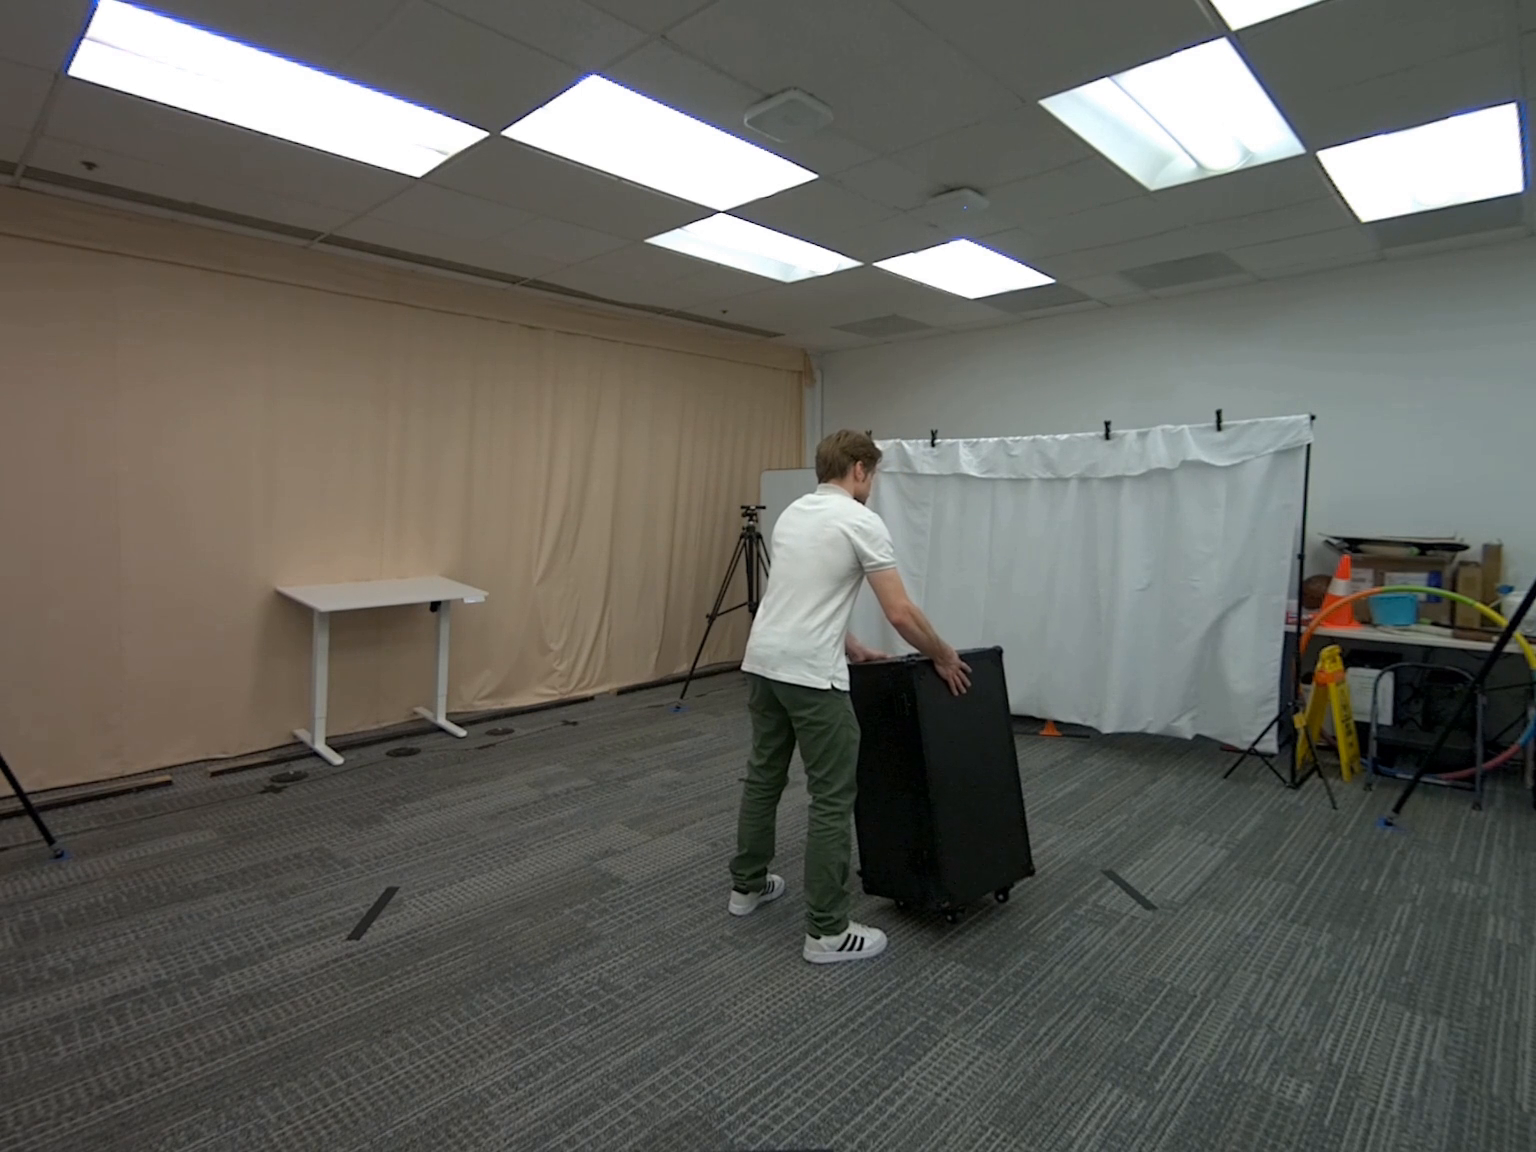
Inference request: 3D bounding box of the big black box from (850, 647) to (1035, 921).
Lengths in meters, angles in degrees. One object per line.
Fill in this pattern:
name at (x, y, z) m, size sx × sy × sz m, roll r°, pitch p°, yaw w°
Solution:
big black box at (0.582, 0.711, 2.935) m, size 0.507 × 0.872 × 0.395 m, roll -2°, pitch -7°, yaw -38°
